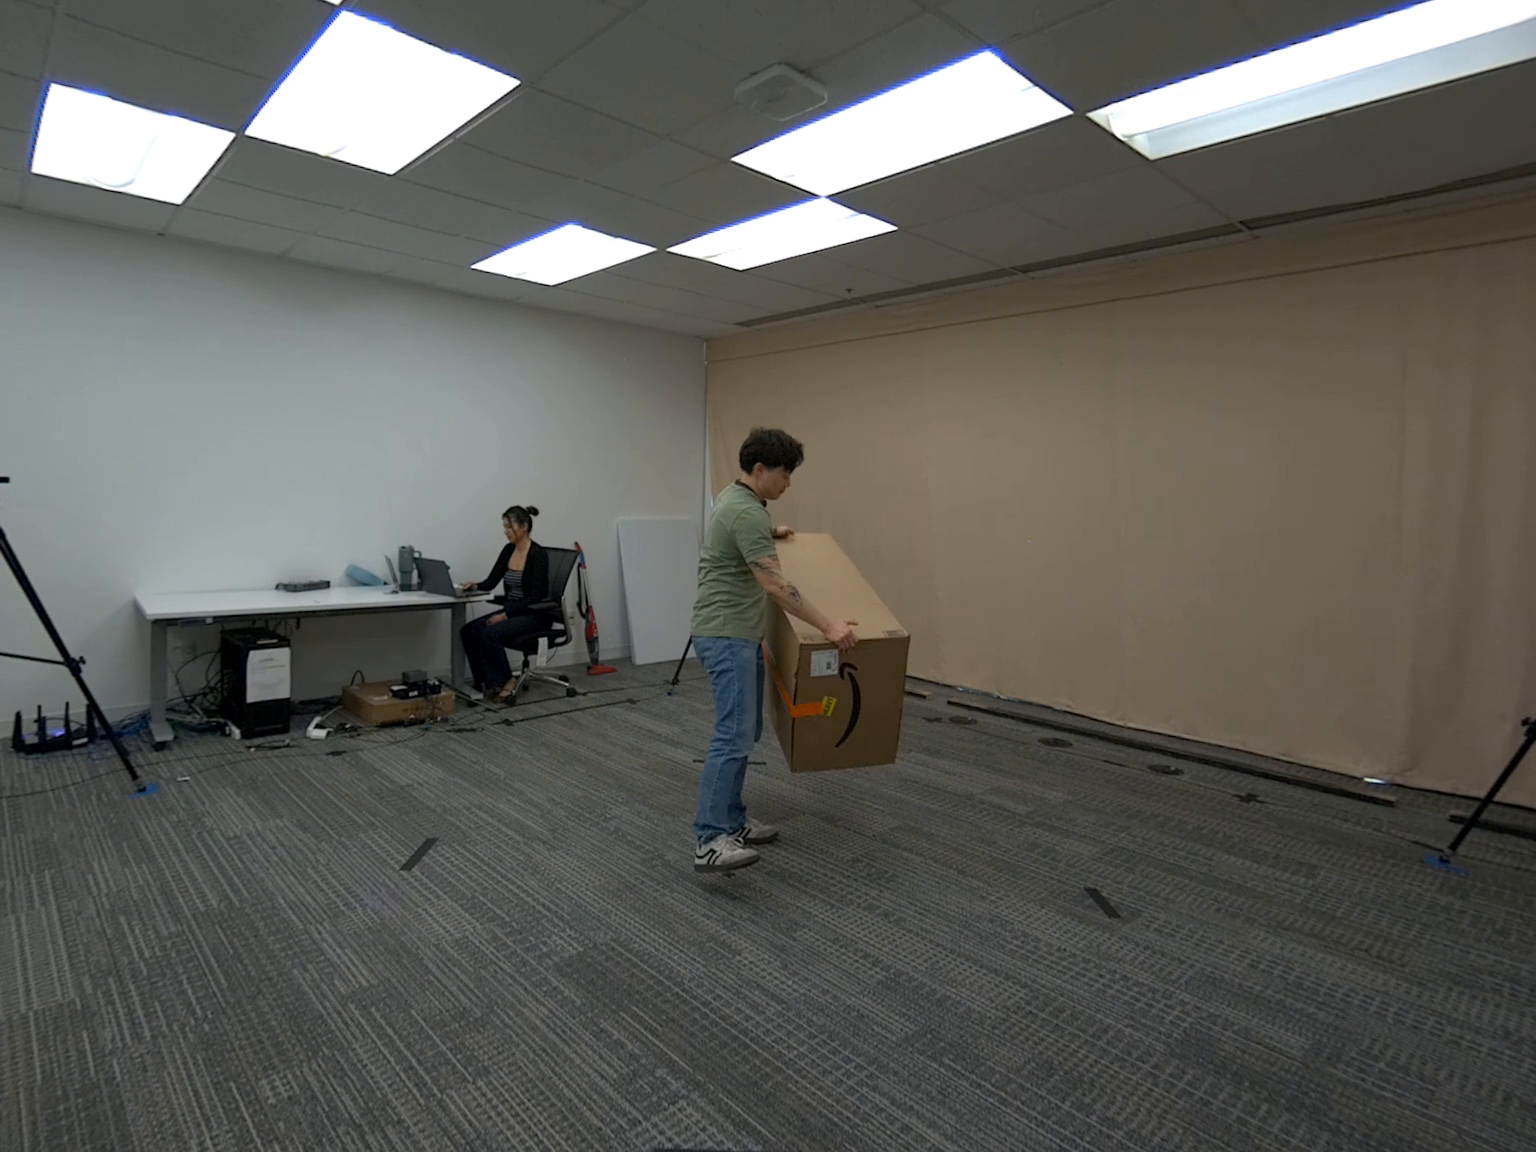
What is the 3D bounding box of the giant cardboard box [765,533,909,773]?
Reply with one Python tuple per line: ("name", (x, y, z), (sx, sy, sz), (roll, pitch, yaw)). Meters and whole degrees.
("giant cardboard box", (0.192, 0.285, 3.616), (0.422, 0.569, 1.050), (-2, 24, -12))
